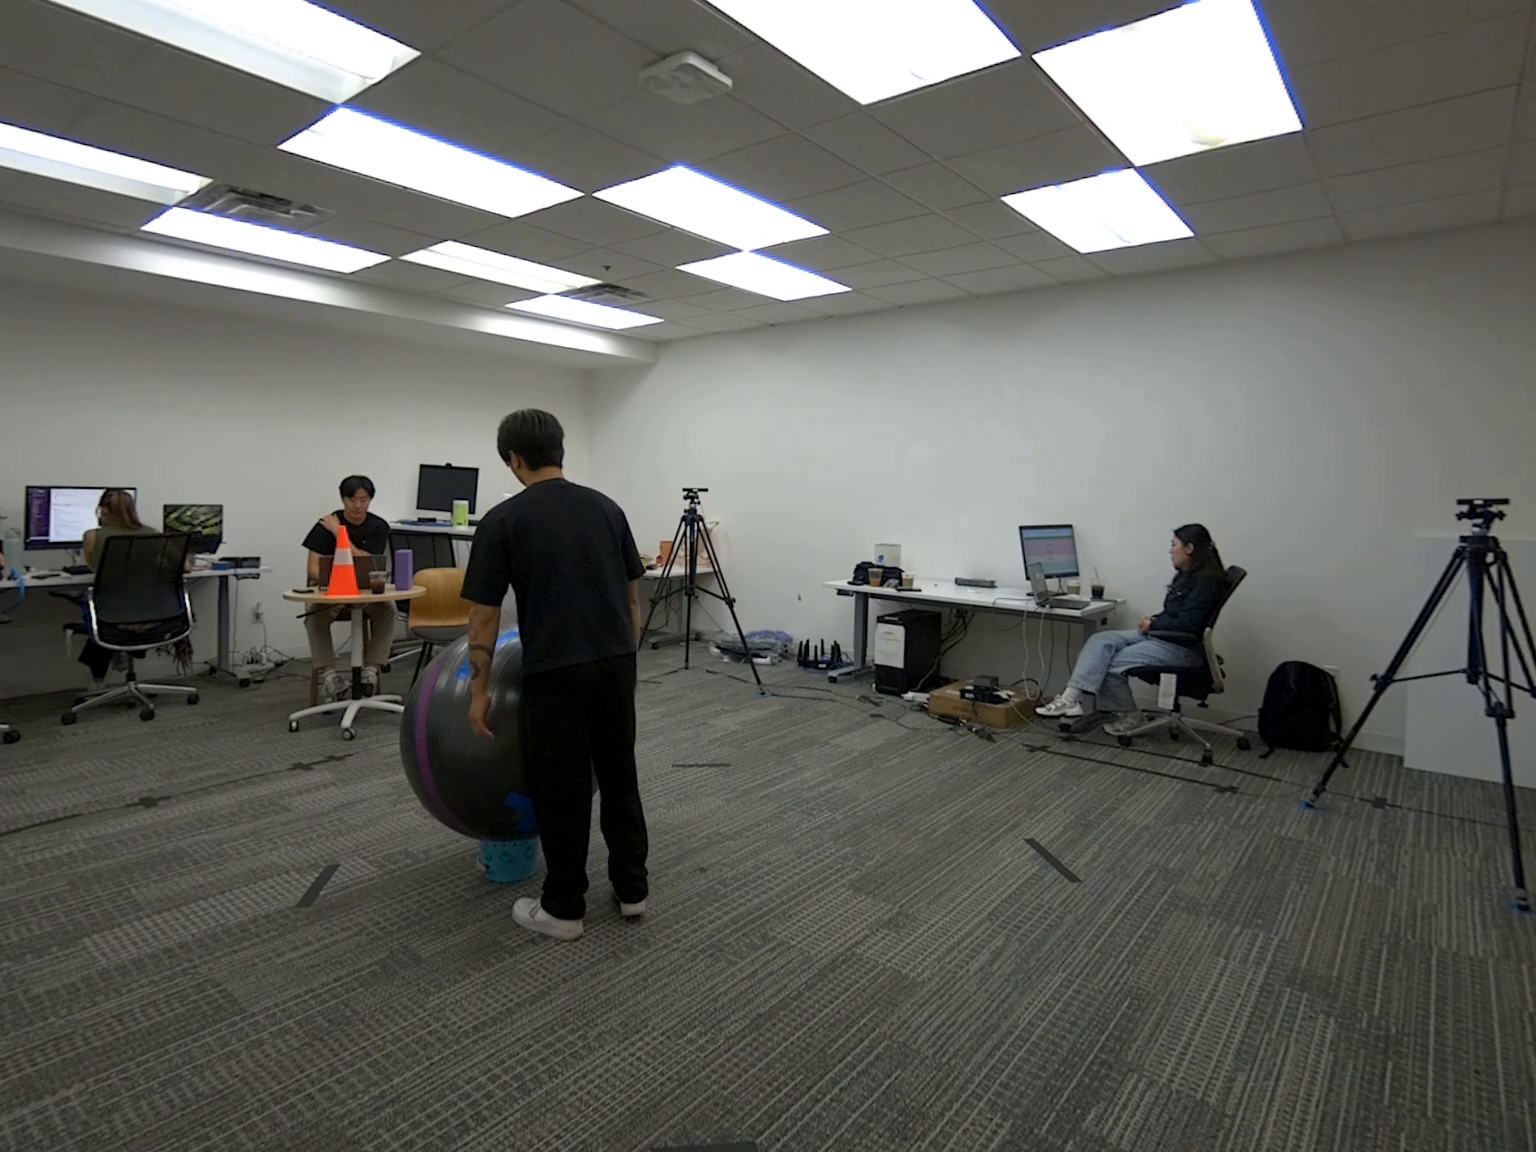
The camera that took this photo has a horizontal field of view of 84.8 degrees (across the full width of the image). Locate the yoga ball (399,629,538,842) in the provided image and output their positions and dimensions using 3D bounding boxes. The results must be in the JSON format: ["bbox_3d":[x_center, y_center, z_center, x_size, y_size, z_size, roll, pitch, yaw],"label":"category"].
[{"bbox_3d":[-0.937,0.552,3.060,0.757,0.756,0.762,1,4,-2],"label":"yoga ball"}]
